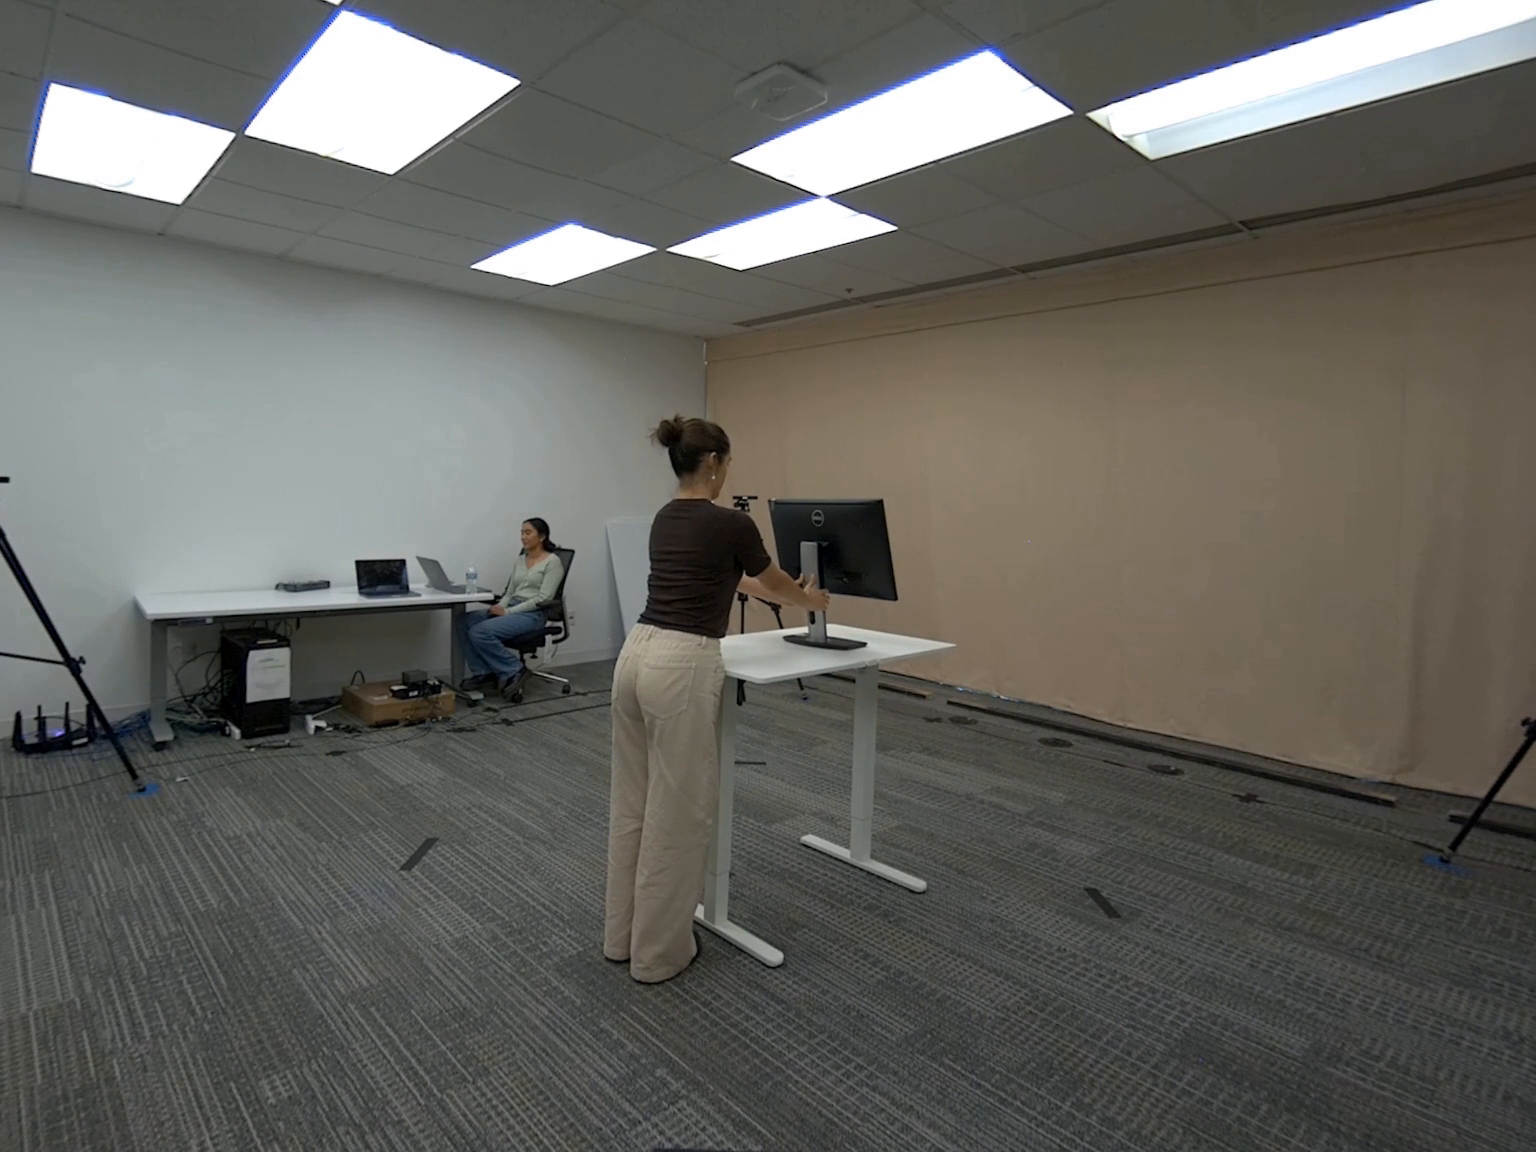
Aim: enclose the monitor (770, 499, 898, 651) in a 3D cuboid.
[{"bbox_3d":[0.192,-0.010,2.962,0.183,0.521,0.553,-4,7,-45],"label":"monitor"}]
